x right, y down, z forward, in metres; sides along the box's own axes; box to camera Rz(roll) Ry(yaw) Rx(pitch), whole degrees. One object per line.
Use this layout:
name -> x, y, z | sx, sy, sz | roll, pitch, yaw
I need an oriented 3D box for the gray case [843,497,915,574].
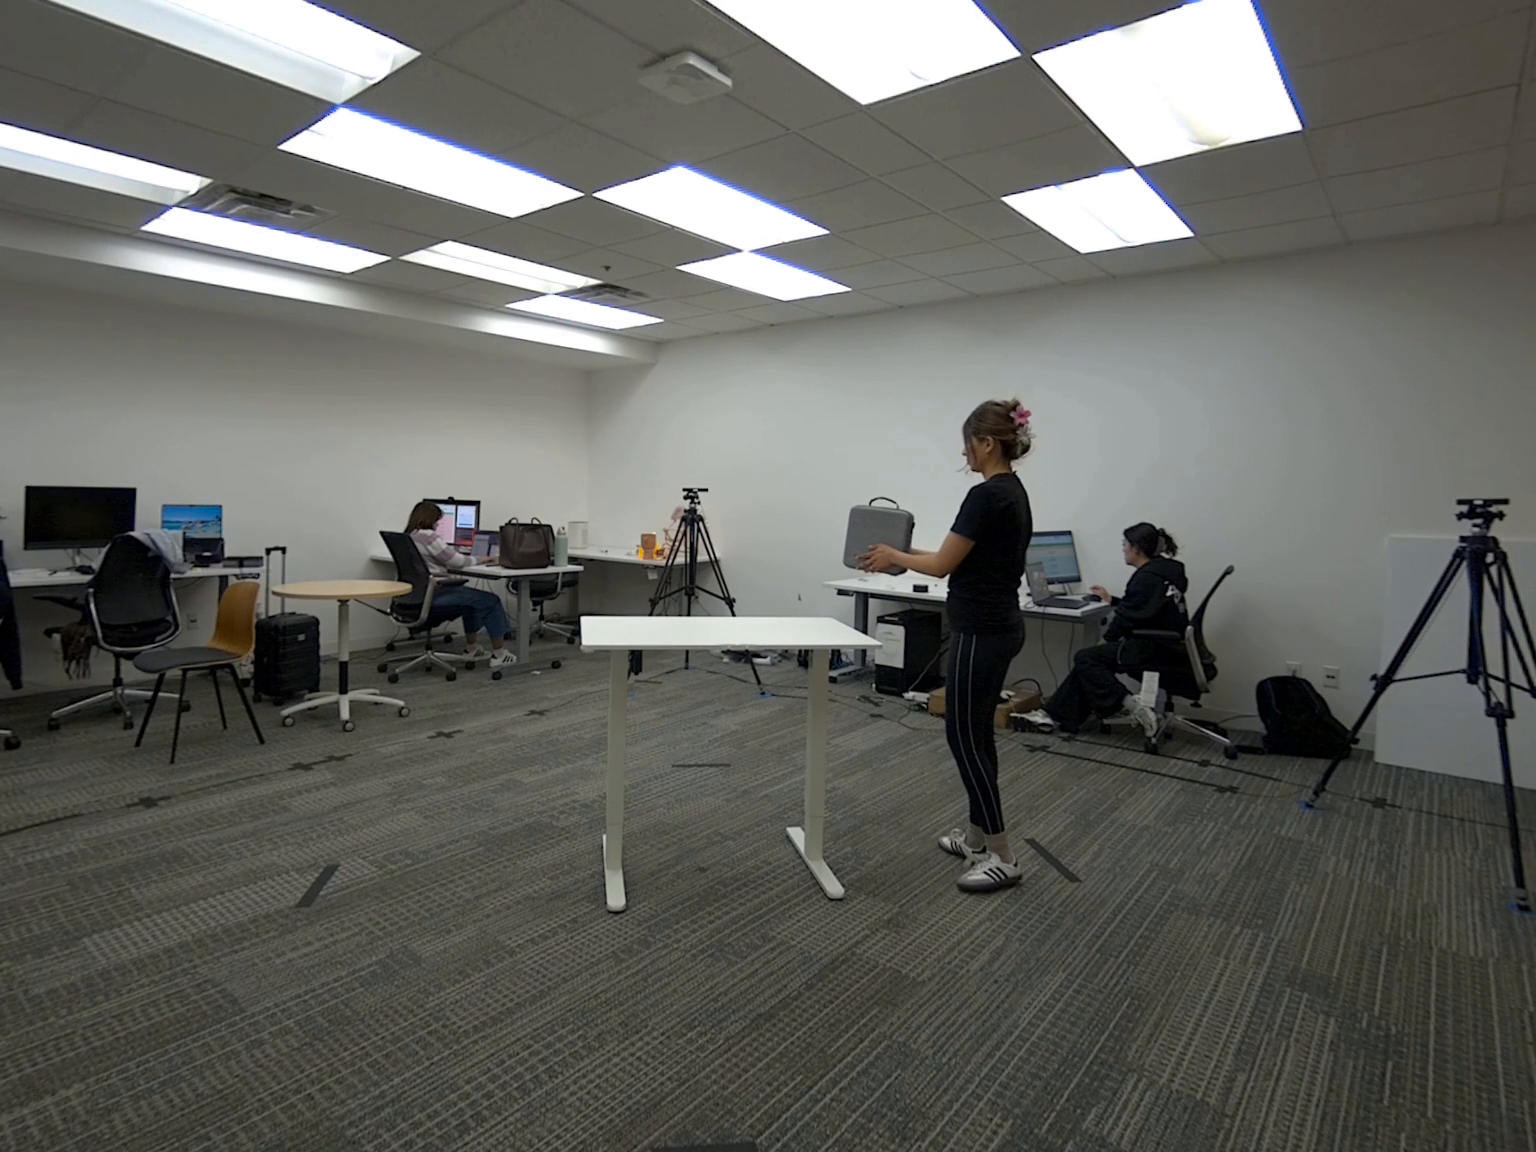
gray case -> 0.439, -0.154, 3.393 | 0.265, 0.260, 0.101 | 10, 3, 28
